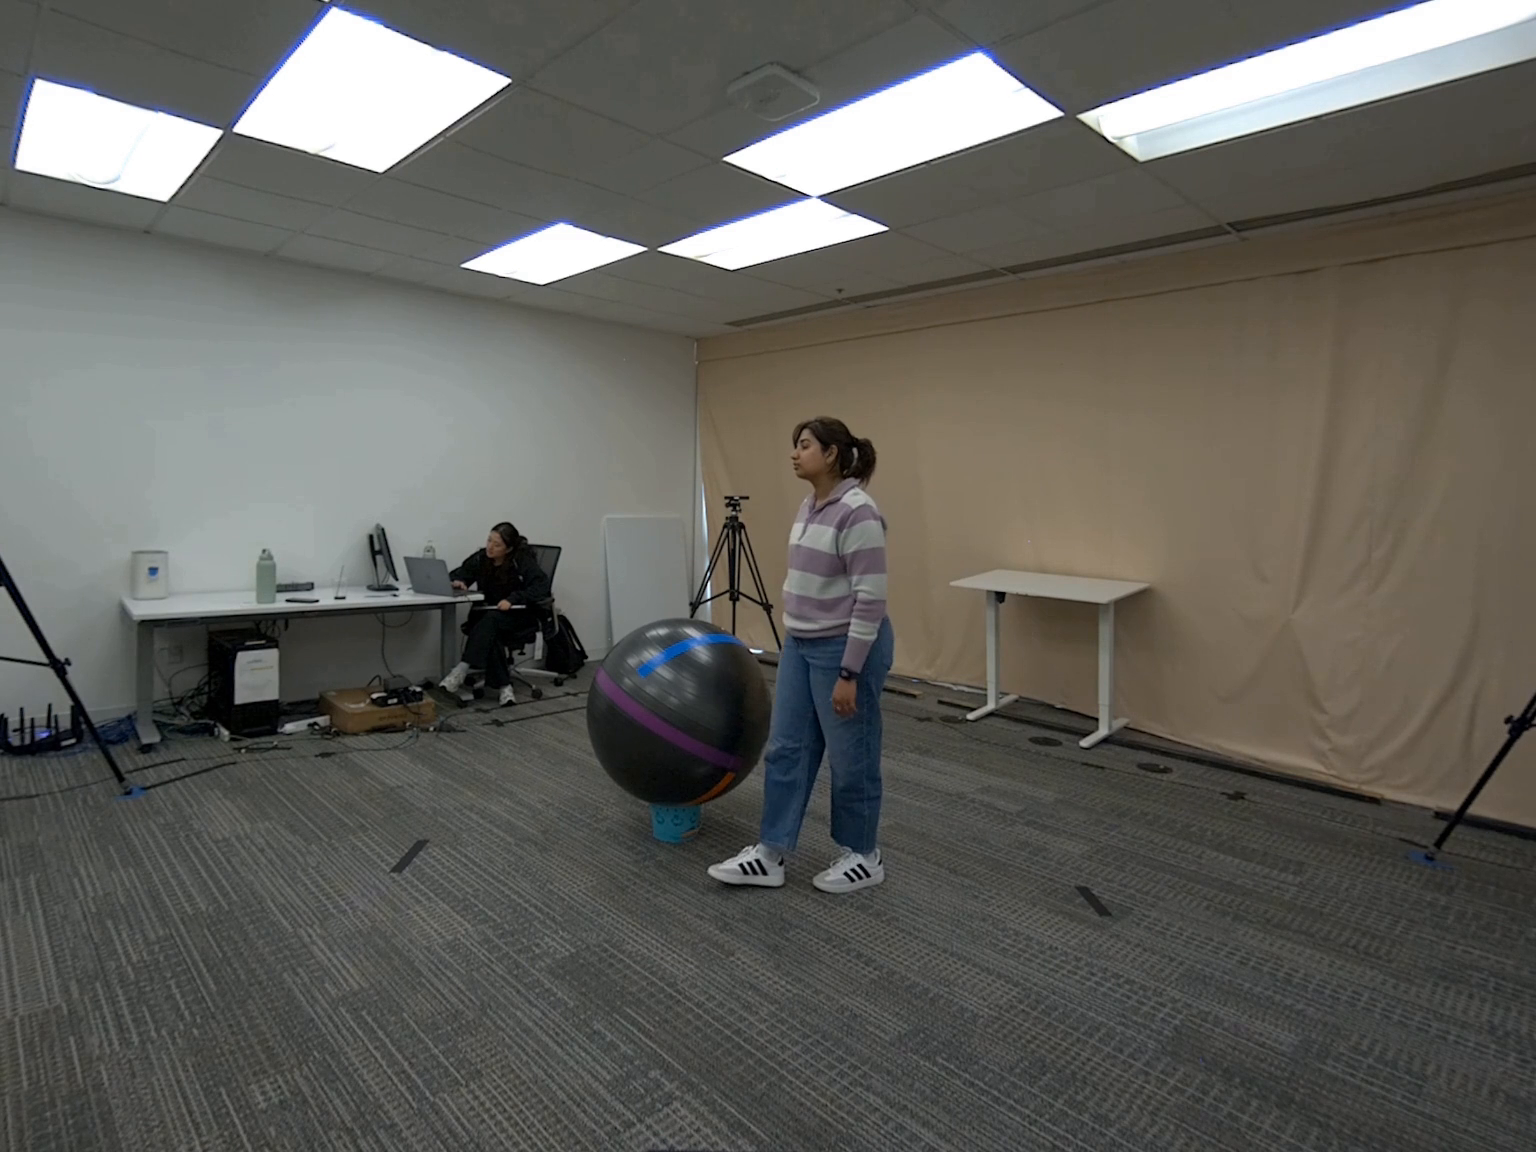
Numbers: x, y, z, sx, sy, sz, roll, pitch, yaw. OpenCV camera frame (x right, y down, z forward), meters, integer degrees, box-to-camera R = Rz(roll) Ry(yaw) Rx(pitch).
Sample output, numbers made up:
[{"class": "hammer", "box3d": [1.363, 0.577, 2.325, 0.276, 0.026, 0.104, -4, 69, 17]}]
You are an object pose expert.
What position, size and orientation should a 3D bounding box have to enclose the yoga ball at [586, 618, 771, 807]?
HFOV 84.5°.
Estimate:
[{"class": "yoga ball", "box3d": [-0.368, 0.560, 3.473, 0.757, 0.756, 0.761, 1, 4, -1]}]
